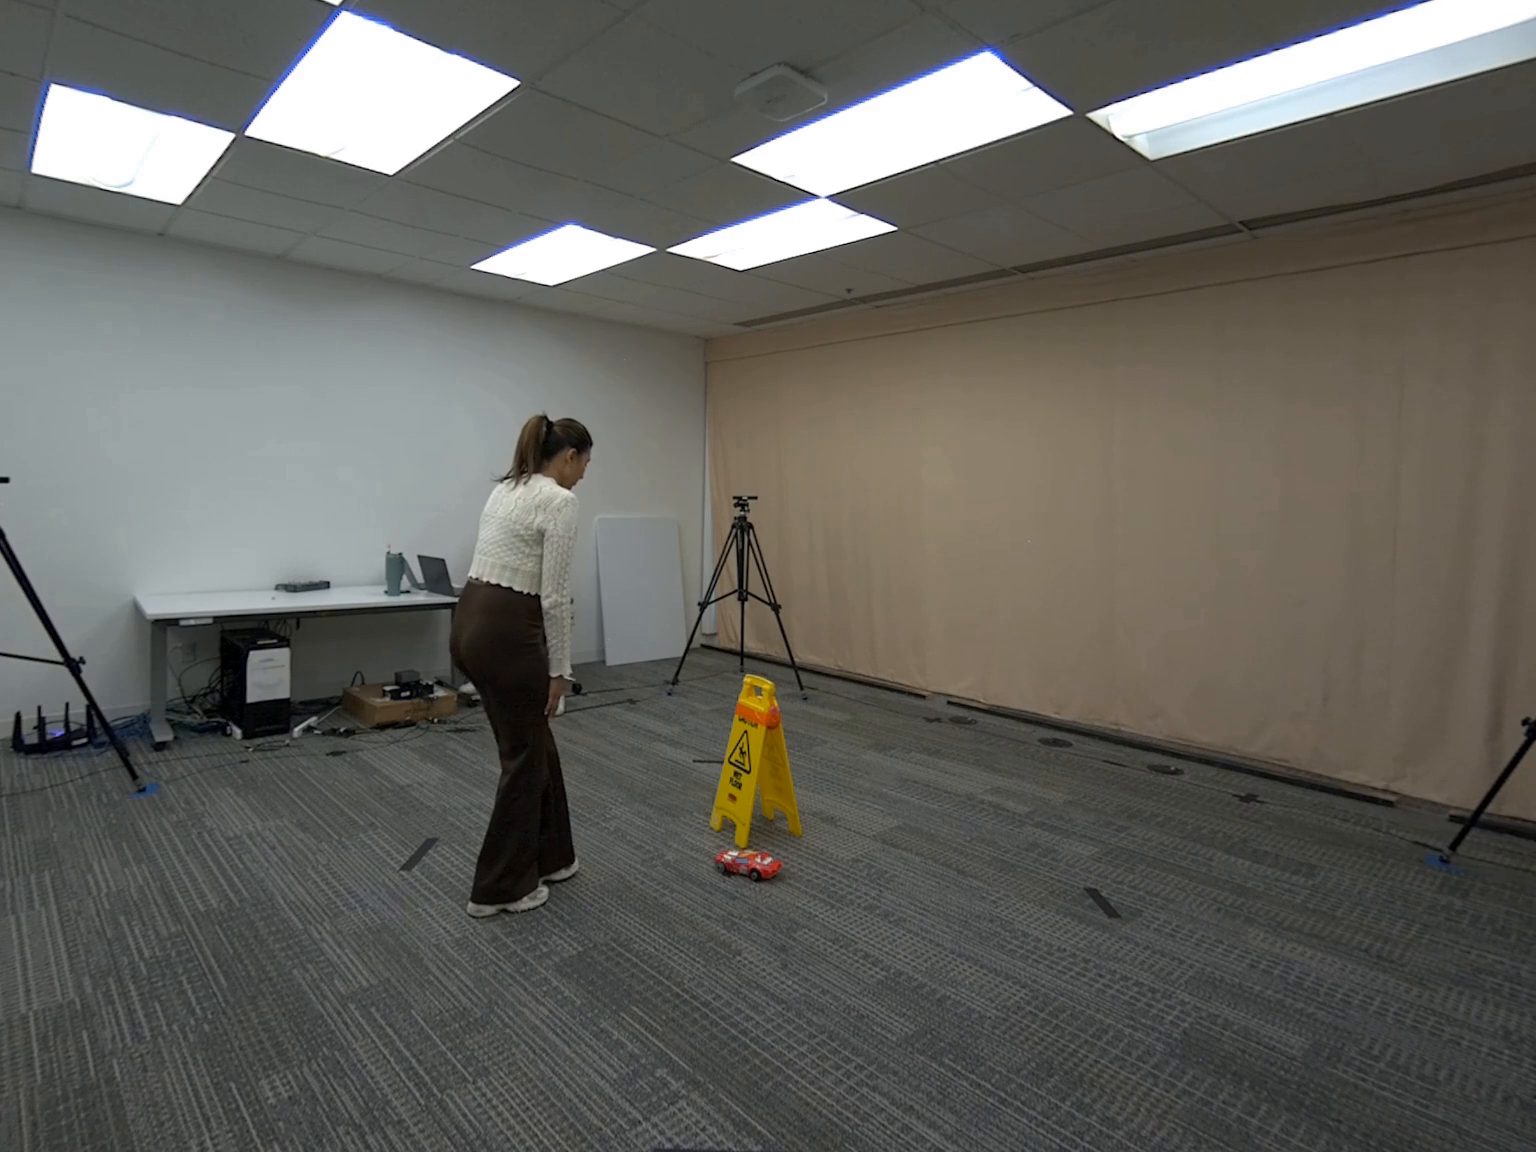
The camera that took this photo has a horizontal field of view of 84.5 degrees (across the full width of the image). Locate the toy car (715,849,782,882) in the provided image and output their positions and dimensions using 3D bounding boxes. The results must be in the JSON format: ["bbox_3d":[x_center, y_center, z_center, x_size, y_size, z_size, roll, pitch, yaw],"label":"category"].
[{"bbox_3d":[-0.078,1.072,3.119,0.259,0.083,0.128,-8,-1,28],"label":"toy car"}]
